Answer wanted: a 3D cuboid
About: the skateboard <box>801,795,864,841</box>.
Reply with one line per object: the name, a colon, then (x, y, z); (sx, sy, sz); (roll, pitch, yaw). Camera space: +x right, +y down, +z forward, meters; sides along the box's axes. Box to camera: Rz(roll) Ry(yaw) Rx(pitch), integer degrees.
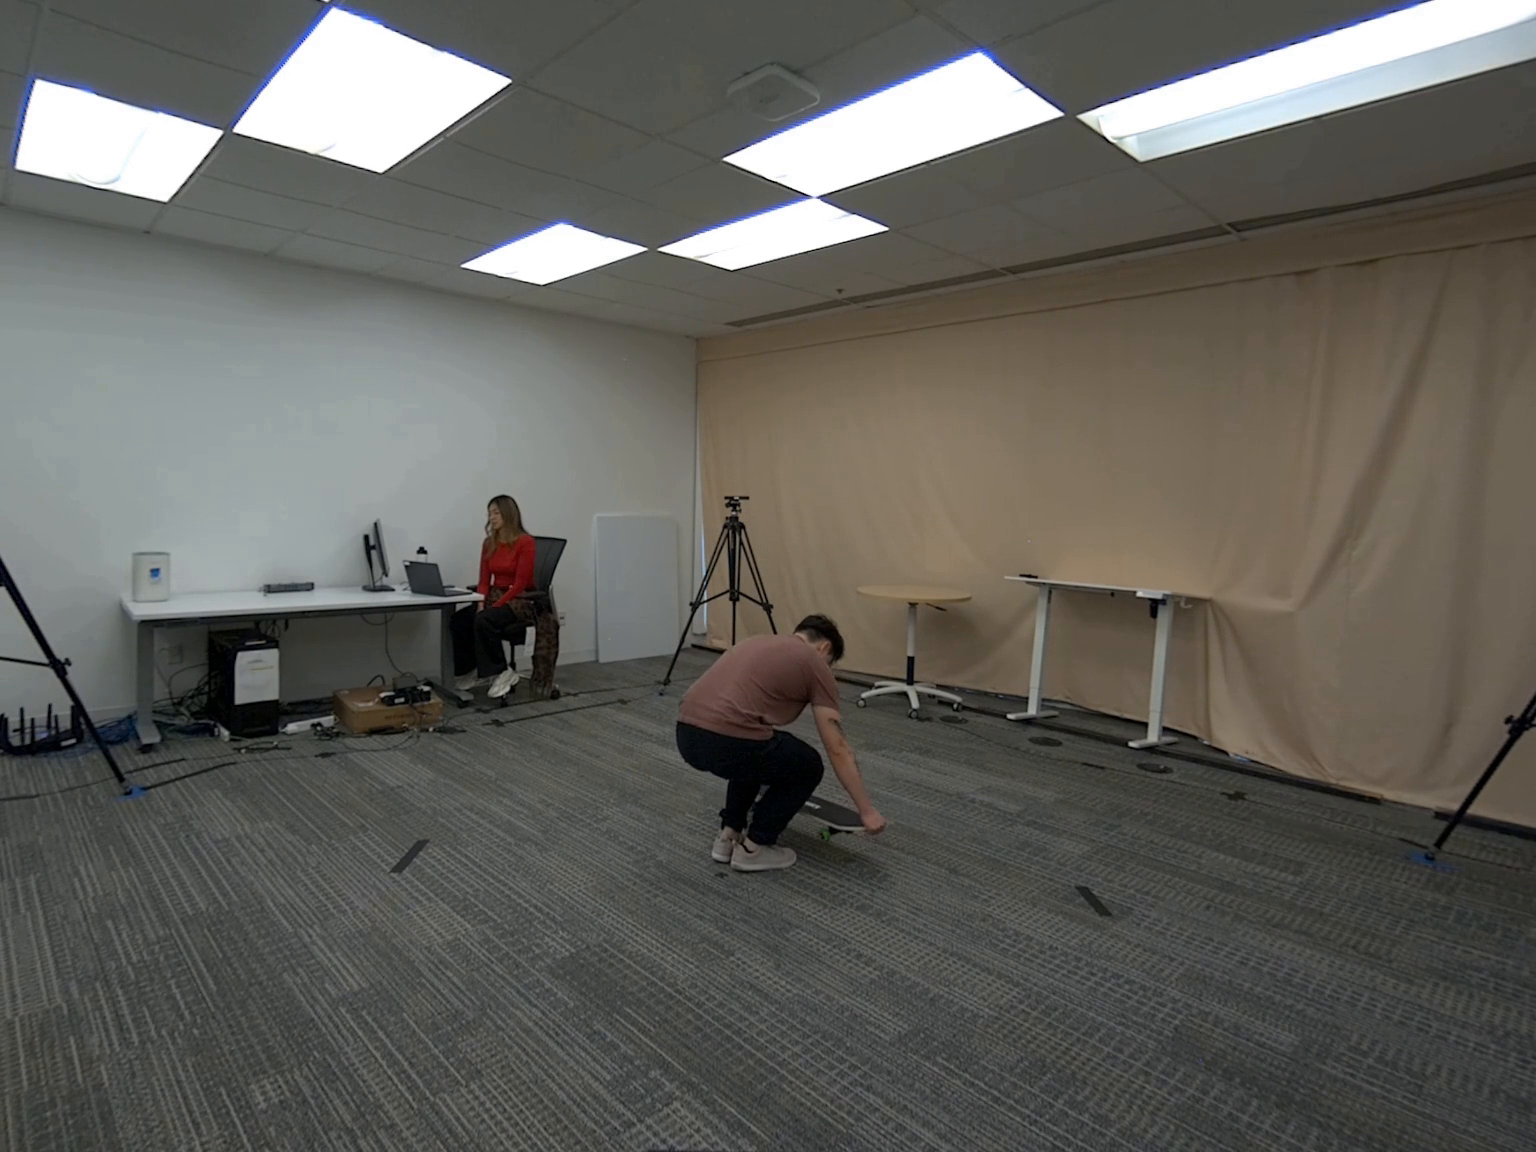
skateboard: (0.126, 0.951, 3.446); (0.189, 0.110, 0.806); (1, 4, -45)
